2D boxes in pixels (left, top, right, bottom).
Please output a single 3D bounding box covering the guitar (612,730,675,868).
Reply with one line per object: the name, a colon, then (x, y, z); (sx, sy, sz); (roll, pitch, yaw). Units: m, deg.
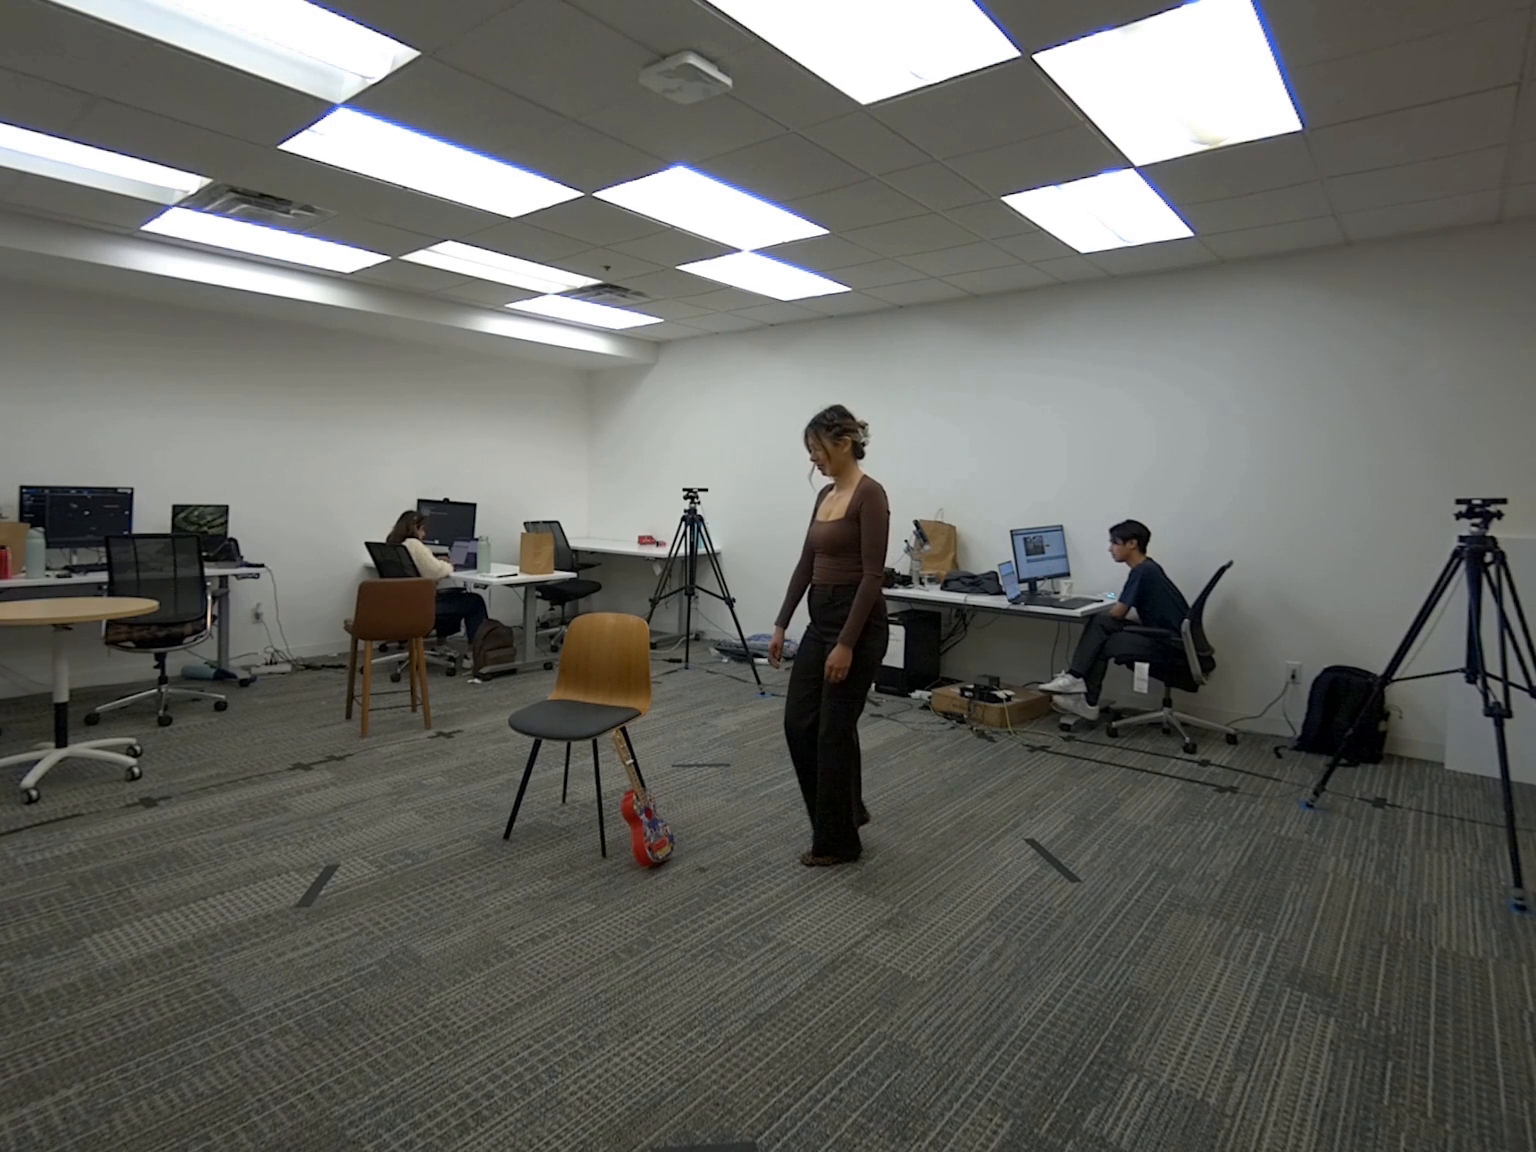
guitar: (-0.489, 0.828, 3.205); (0.071, 0.507, 0.187); (-26, -15, 23)
